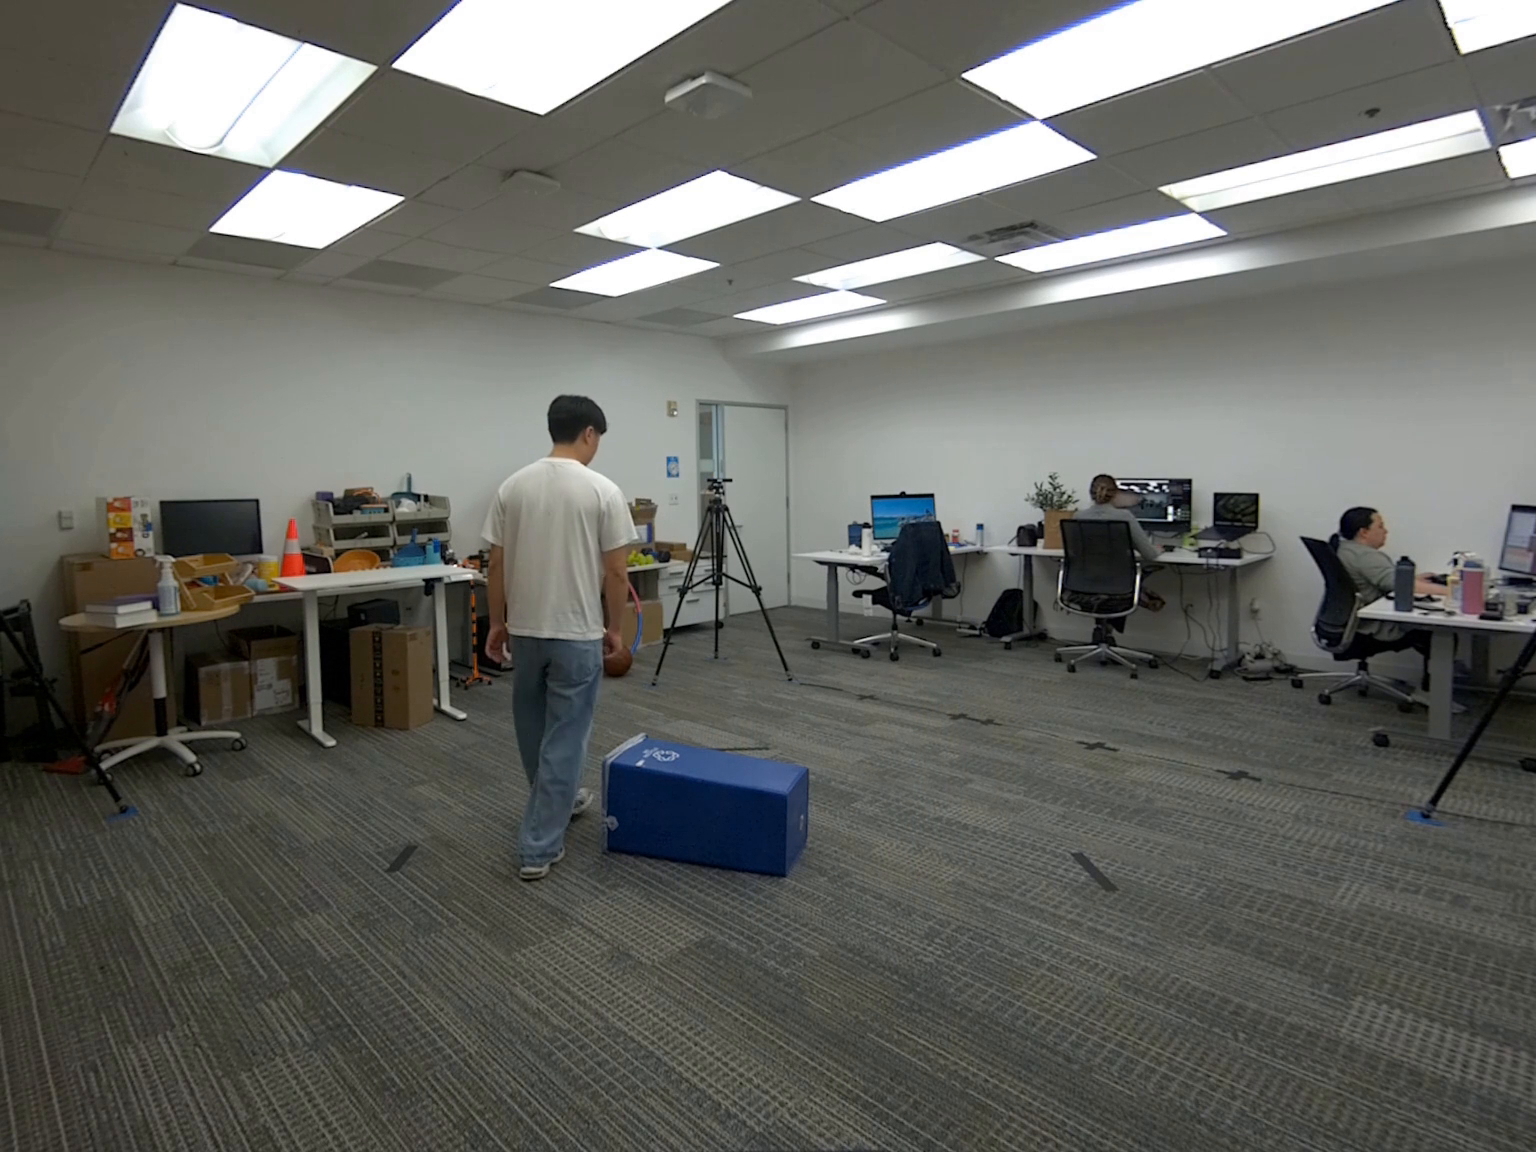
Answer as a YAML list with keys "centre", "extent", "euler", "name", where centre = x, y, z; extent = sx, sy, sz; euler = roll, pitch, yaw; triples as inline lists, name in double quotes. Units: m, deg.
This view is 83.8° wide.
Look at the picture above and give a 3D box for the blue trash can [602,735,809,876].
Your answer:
- centre: [-0.226, 0.858, 3.235]
  extent: [0.728, 0.376, 0.368]
  euler: [4, 6, 20]
  name: "blue trash can"
